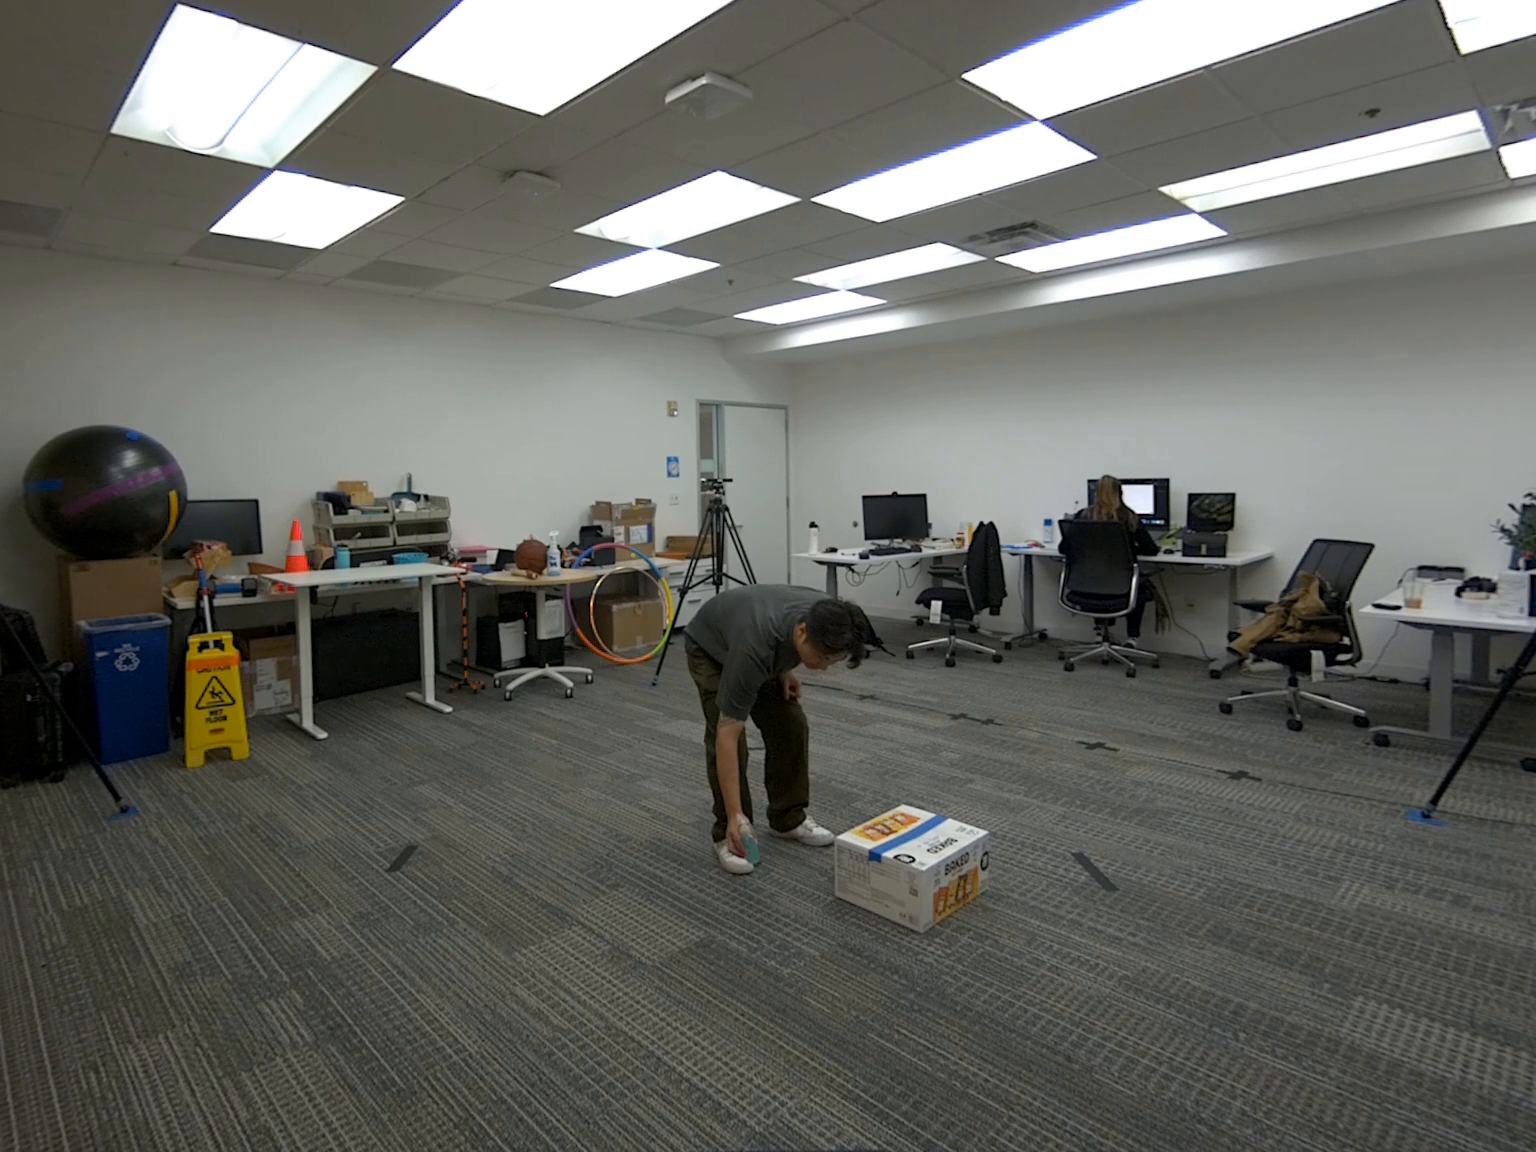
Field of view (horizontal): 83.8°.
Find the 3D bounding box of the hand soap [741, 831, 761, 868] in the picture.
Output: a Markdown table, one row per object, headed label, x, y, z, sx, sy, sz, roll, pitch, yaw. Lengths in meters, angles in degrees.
| label | x | y | z | sx | sy | sz | roll | pitch | yaw |
| --- | --- | --- | --- | --- | --- | --- | --- | --- | --- |
| hand soap | -0.064 | 0.831 | 2.684 | 0.043 | 0.164 | 0.088 | -20 | 29 | -23 |
